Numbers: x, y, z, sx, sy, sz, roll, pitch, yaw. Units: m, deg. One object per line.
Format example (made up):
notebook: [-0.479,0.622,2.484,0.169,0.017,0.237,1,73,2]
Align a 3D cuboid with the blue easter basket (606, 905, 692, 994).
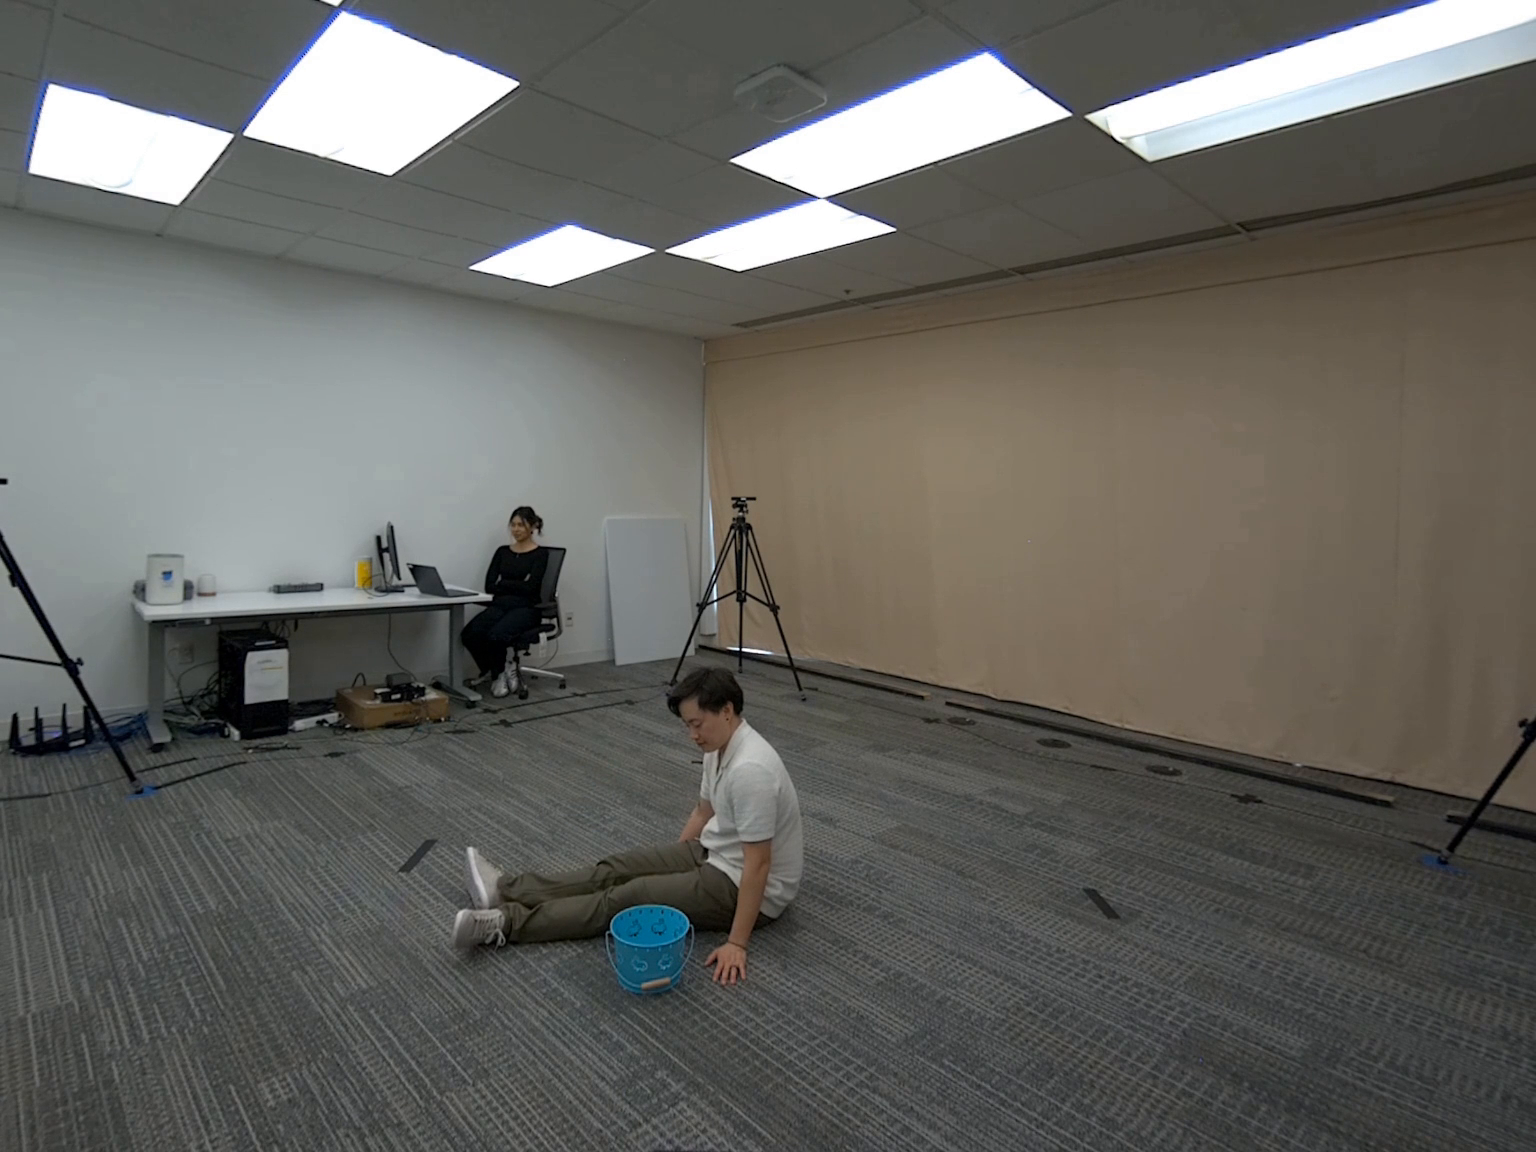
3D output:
blue easter basket: [-0.356,1.089,2.432,0.243,0.155,0.244,1,5,-1]
